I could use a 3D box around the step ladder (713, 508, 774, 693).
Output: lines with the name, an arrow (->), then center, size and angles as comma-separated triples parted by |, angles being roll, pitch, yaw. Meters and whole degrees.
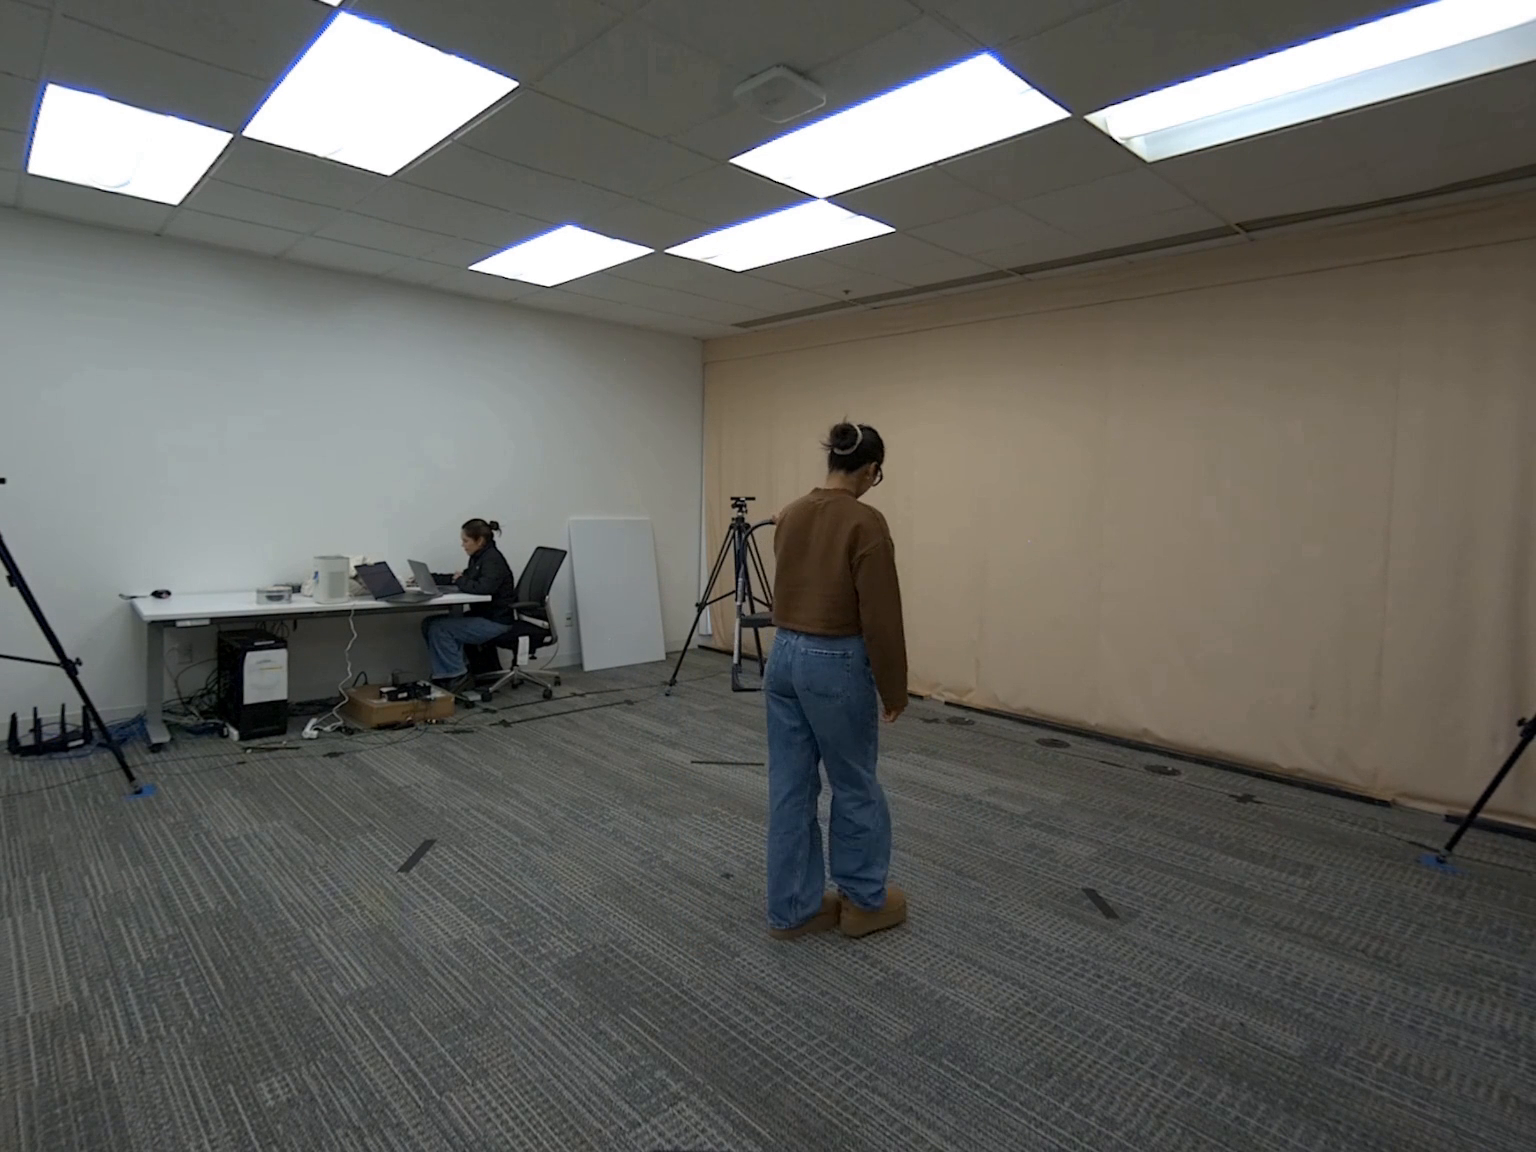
step ladder -> 0.106, 0.097, 3.043 | 0.437, 0.605, 0.344 | -1, 2, 19
